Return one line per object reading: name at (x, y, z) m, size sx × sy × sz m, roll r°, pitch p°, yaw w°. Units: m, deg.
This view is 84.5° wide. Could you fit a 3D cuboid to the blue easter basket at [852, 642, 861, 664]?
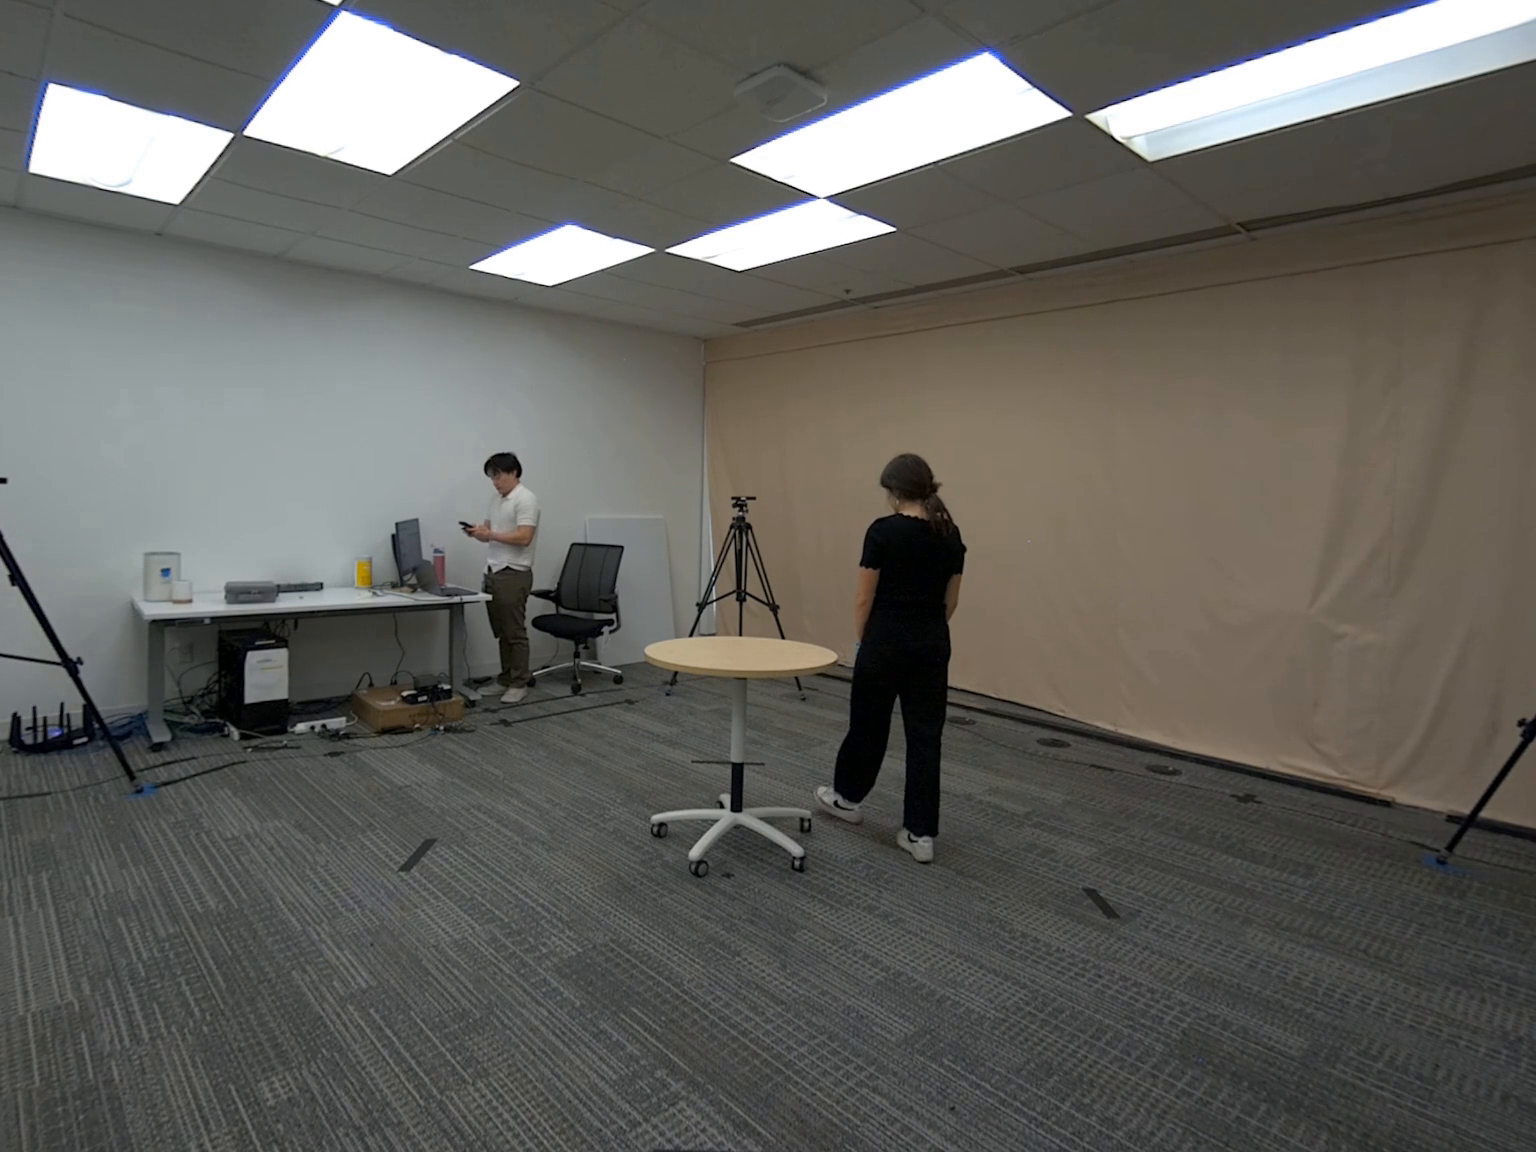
blue easter basket at (0.464, 0.391, 3.637) m, size 0.243 × 0.155 × 0.245 m, roll 7°, pitch 6°, yaw -2°
